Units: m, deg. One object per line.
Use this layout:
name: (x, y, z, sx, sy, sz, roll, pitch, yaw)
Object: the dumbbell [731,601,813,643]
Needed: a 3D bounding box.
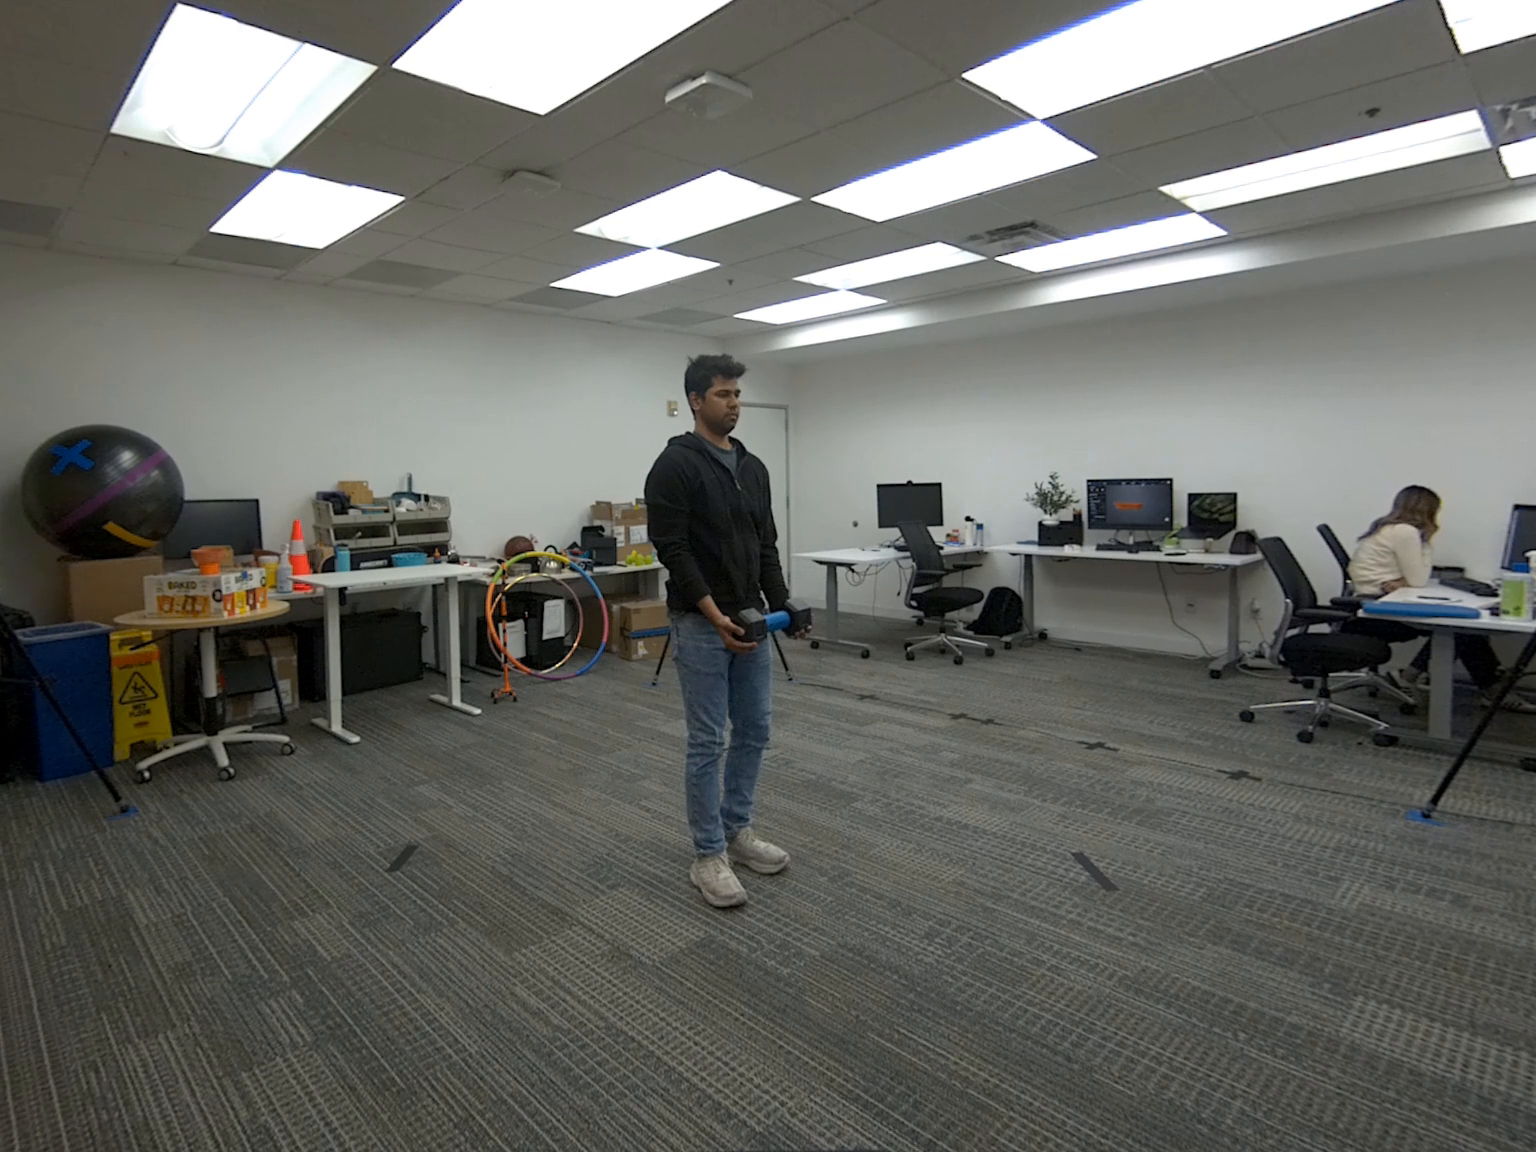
dumbbell: (0.004, 0.144, 2.794, 0.286, 0.122, 0.112, -10, 5, -42)
